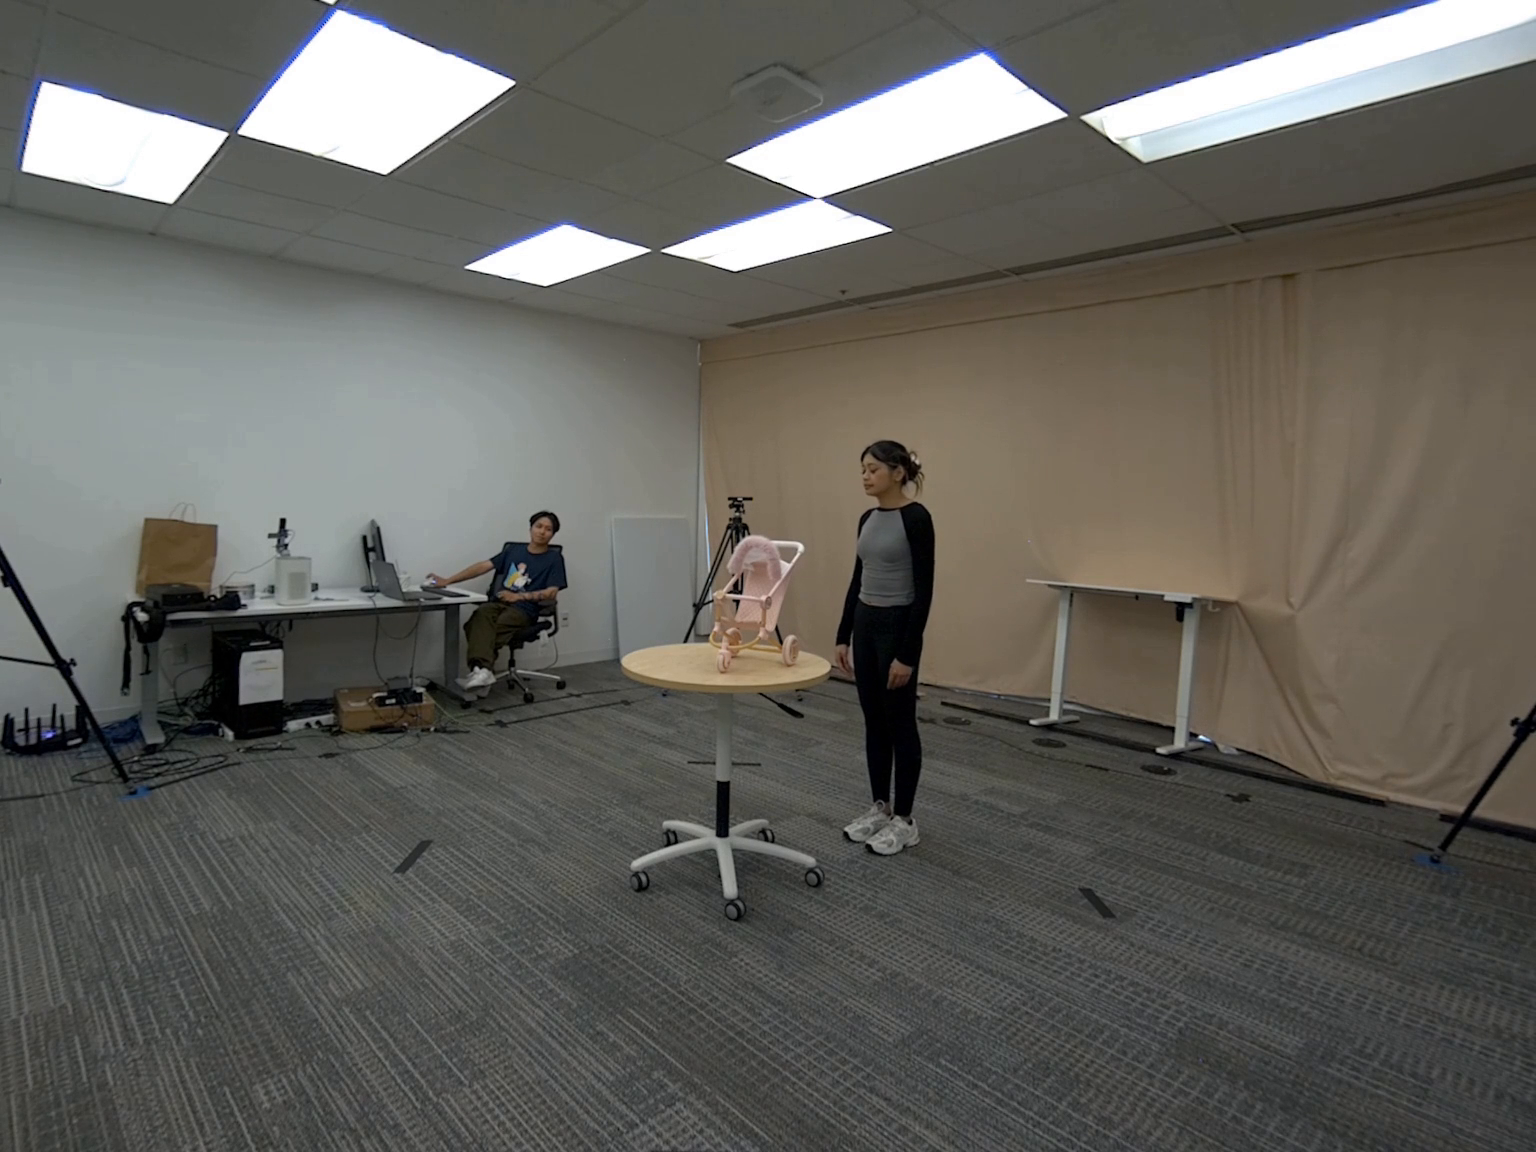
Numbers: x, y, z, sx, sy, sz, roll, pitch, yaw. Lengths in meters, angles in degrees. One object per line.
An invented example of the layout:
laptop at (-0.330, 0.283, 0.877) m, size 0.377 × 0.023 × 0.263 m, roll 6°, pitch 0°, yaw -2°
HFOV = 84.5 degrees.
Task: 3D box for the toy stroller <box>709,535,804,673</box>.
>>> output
toy stroller at (-0.063, 0.097, 3.046) m, size 0.288 × 0.538 × 0.331 m, roll 4°, pitch -10°, yaw 35°
